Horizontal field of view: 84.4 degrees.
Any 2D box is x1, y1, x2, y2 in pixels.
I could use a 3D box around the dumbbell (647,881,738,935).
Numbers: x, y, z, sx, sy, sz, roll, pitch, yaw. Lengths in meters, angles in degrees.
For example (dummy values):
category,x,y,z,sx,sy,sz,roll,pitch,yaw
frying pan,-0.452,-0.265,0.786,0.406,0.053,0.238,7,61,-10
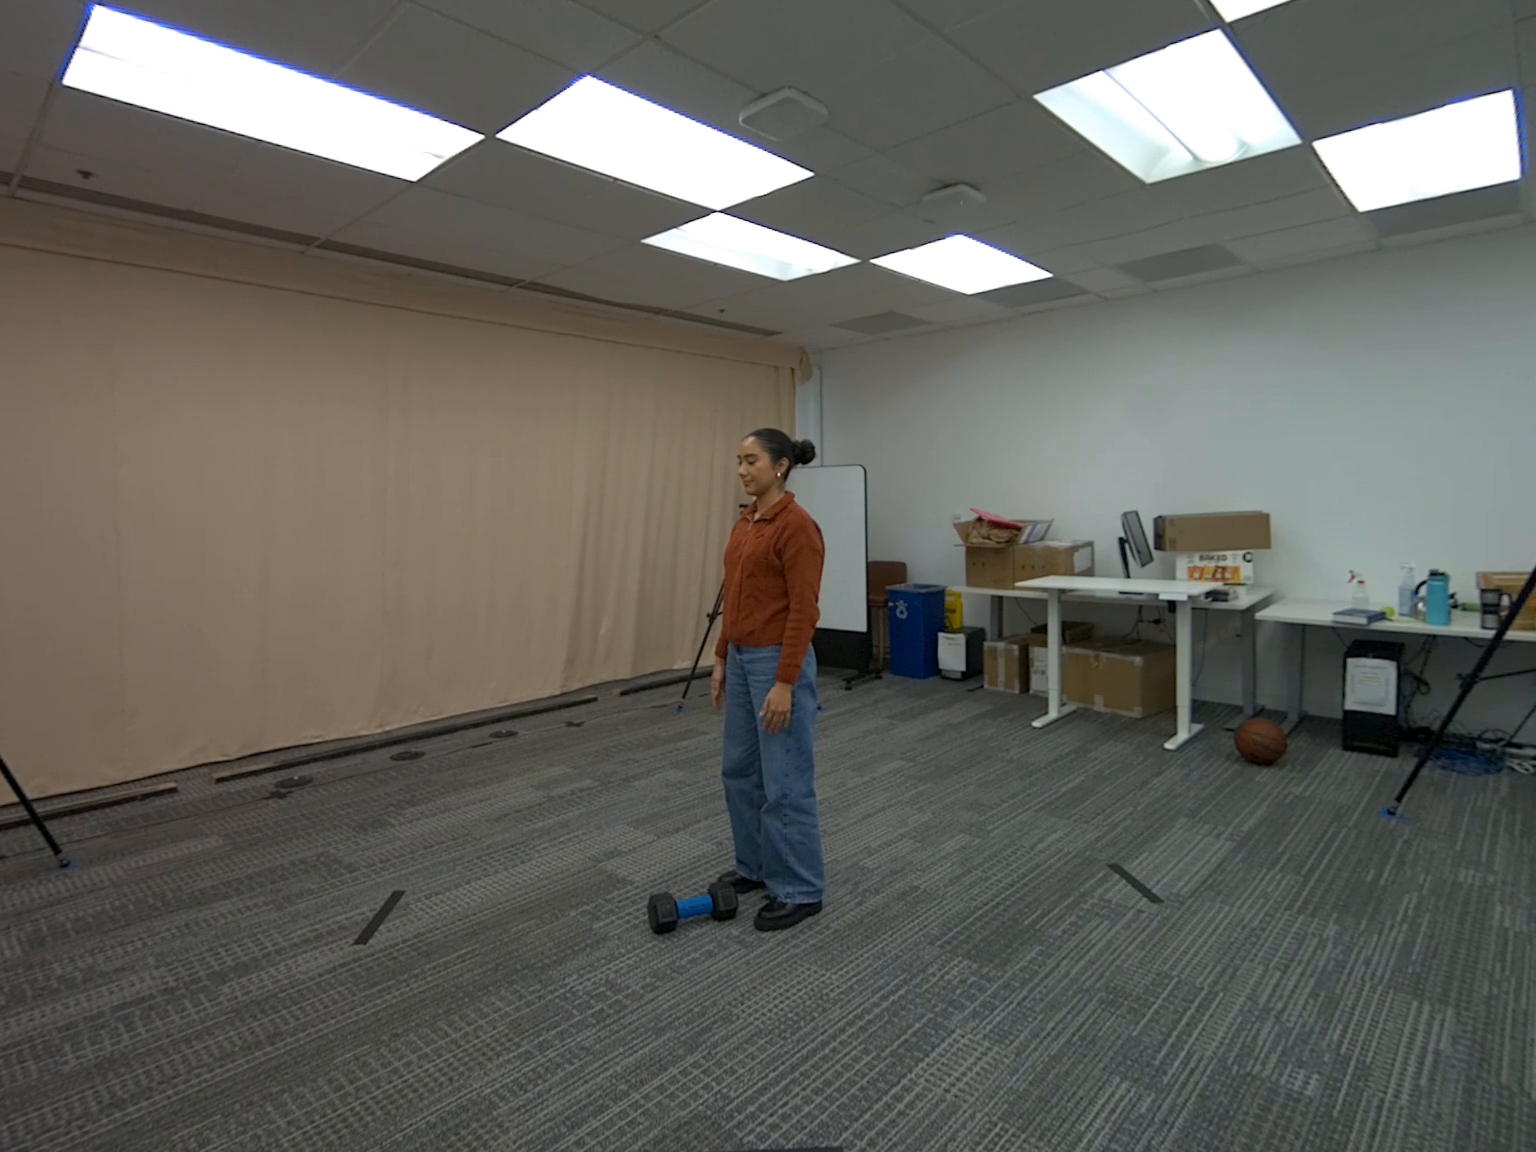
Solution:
category,x,y,z,sx,sy,sz,roll,pitch,yaw
dumbbell,-0.249,1.111,2.809,0.287,0.125,0.109,-2,-26,-22
